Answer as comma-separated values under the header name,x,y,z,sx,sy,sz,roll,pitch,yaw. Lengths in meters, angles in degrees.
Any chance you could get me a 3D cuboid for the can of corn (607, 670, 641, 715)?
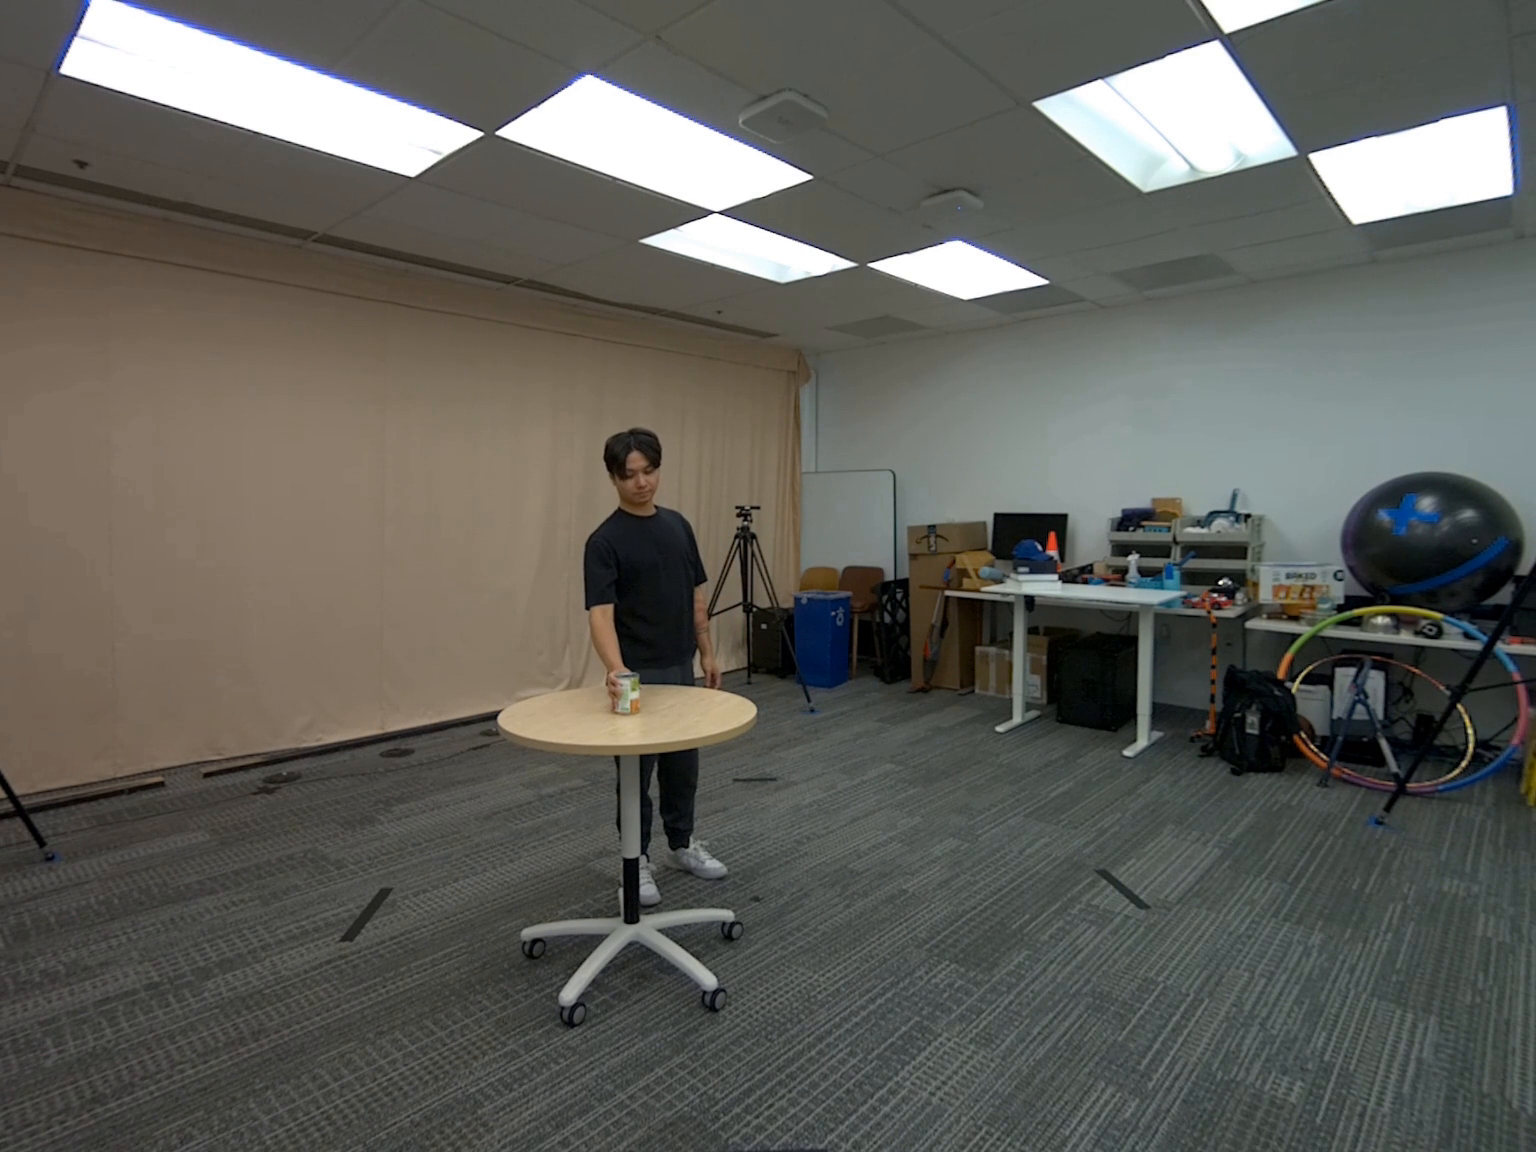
name,x,y,z,sx,sy,sz,roll,pitch,yaw
can of corn,-0.419,0.350,2.507,0.074,0.111,0.074,0,4,-2
